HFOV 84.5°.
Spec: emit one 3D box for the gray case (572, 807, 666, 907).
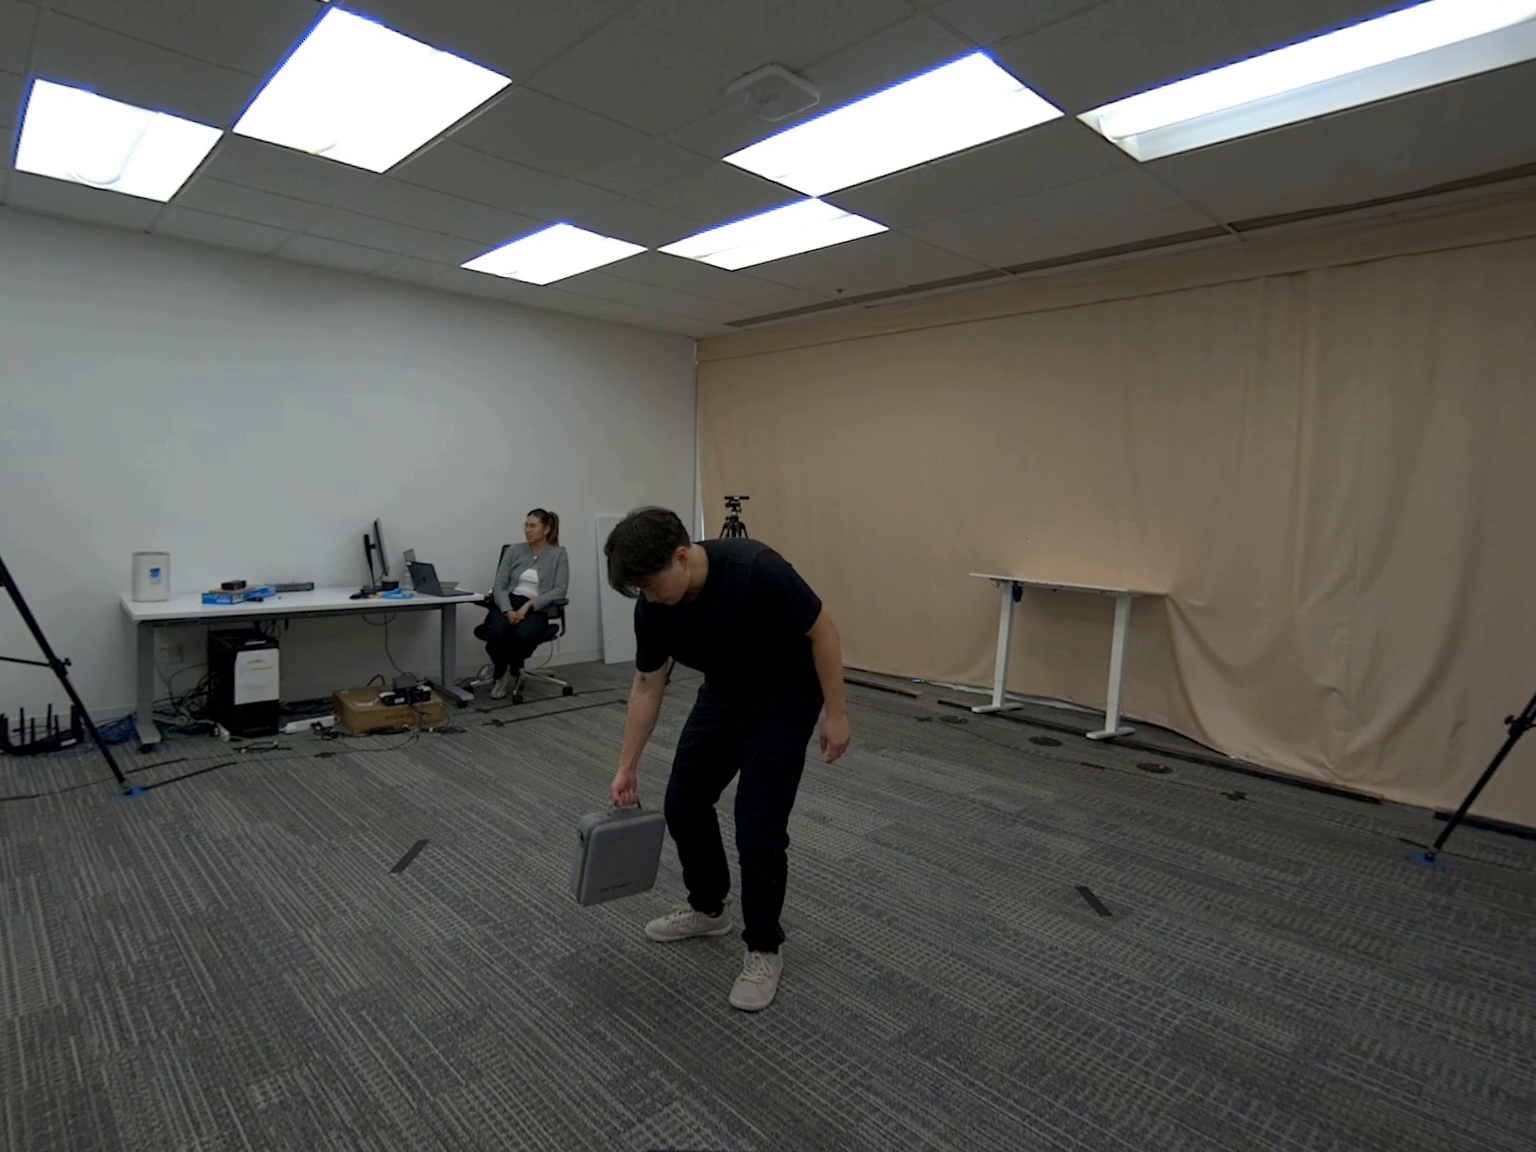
[{"bbox_3d":[-0.436,0.800,2.452,0.251,0.259,0.107,4,8,-37],"label":"gray case"}]
